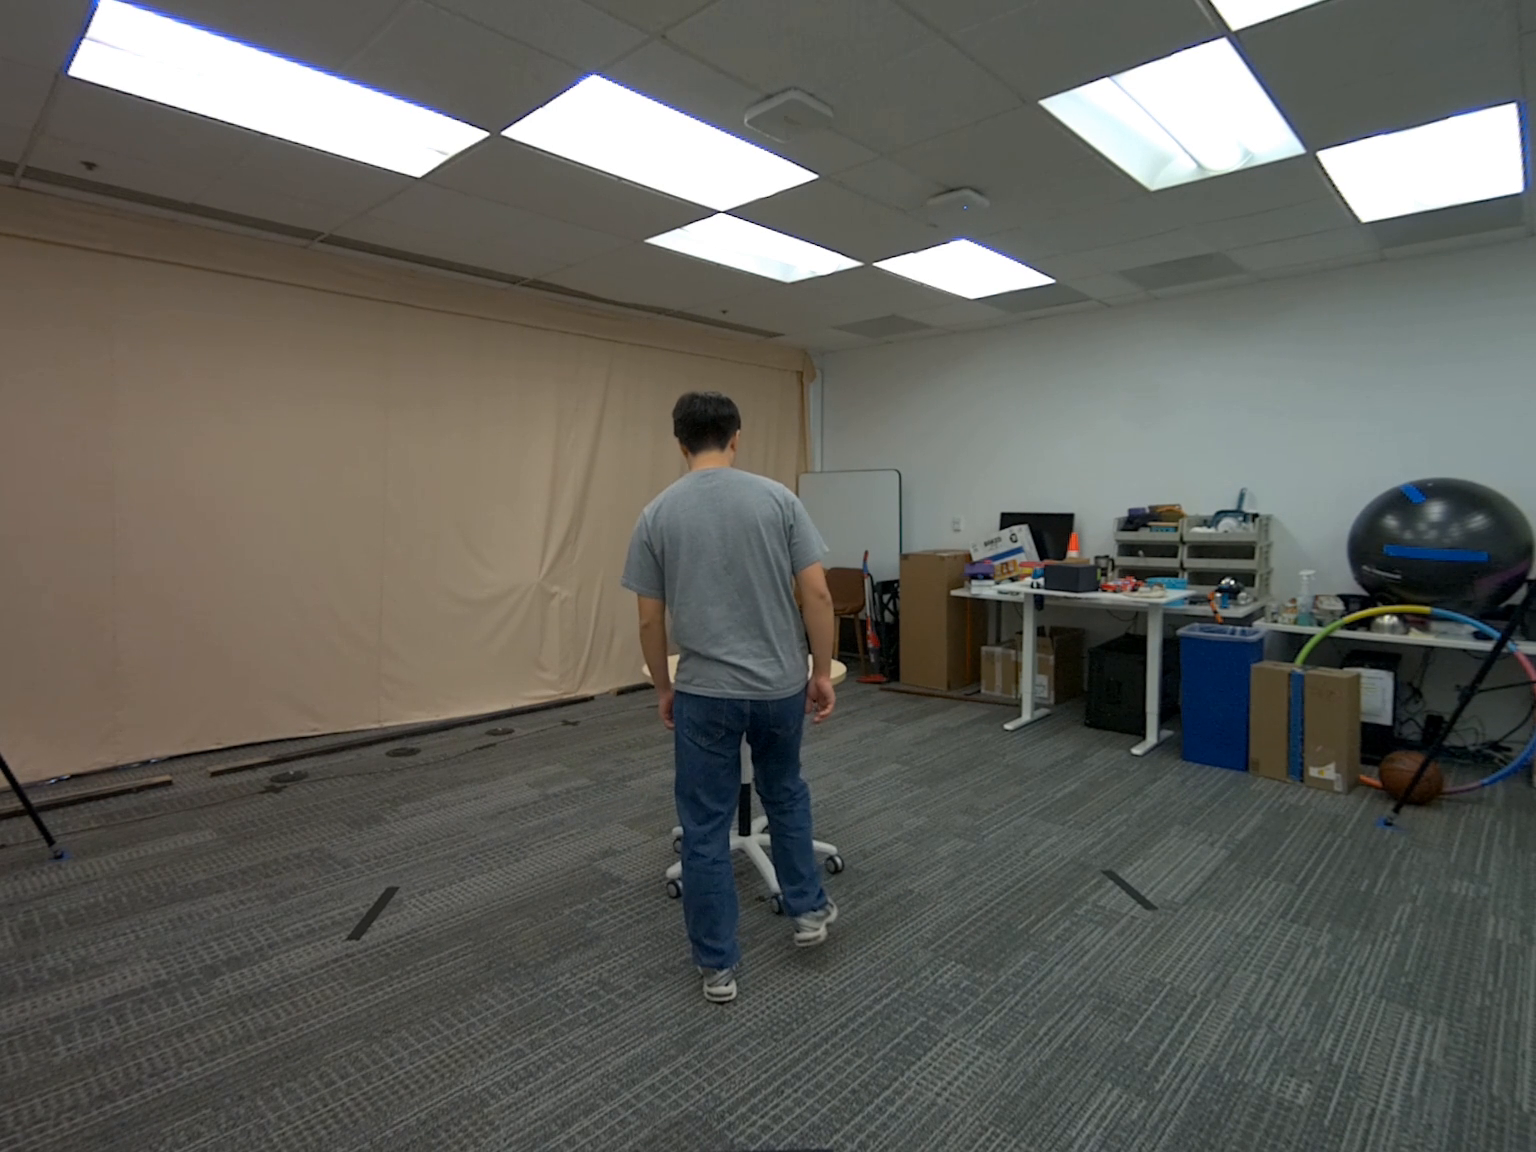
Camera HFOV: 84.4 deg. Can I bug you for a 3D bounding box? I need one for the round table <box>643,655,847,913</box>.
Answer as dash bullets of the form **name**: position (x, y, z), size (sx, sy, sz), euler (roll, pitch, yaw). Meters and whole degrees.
- **round table**: position (-0.076, 0.737, 3.190), size (0.763, 0.792, 0.766), euler (-1, 3, -2)
